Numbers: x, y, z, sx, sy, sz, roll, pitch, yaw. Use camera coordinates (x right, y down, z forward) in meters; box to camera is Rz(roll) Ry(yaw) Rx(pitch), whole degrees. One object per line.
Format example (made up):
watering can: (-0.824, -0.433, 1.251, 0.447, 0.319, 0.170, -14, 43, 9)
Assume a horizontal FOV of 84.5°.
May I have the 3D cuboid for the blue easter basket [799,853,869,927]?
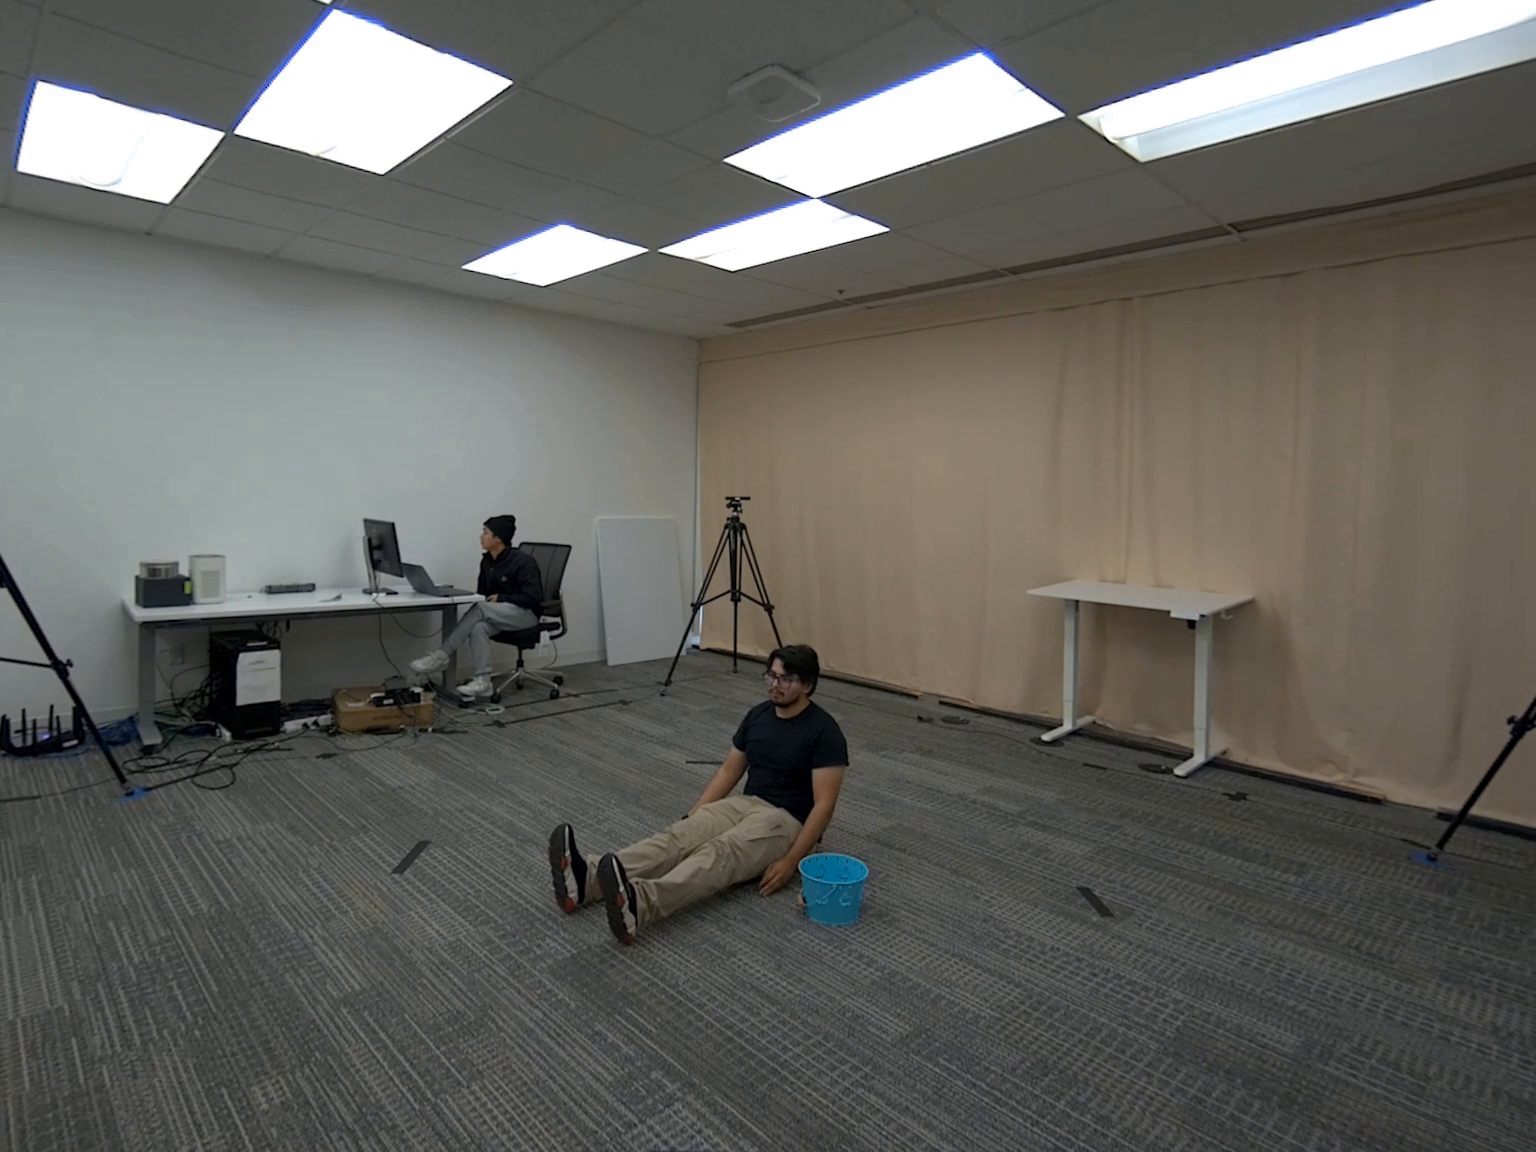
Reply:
blue easter basket: (0.203, 1.059, 2.844, 0.243, 0.155, 0.244, 2, 5, -2)
